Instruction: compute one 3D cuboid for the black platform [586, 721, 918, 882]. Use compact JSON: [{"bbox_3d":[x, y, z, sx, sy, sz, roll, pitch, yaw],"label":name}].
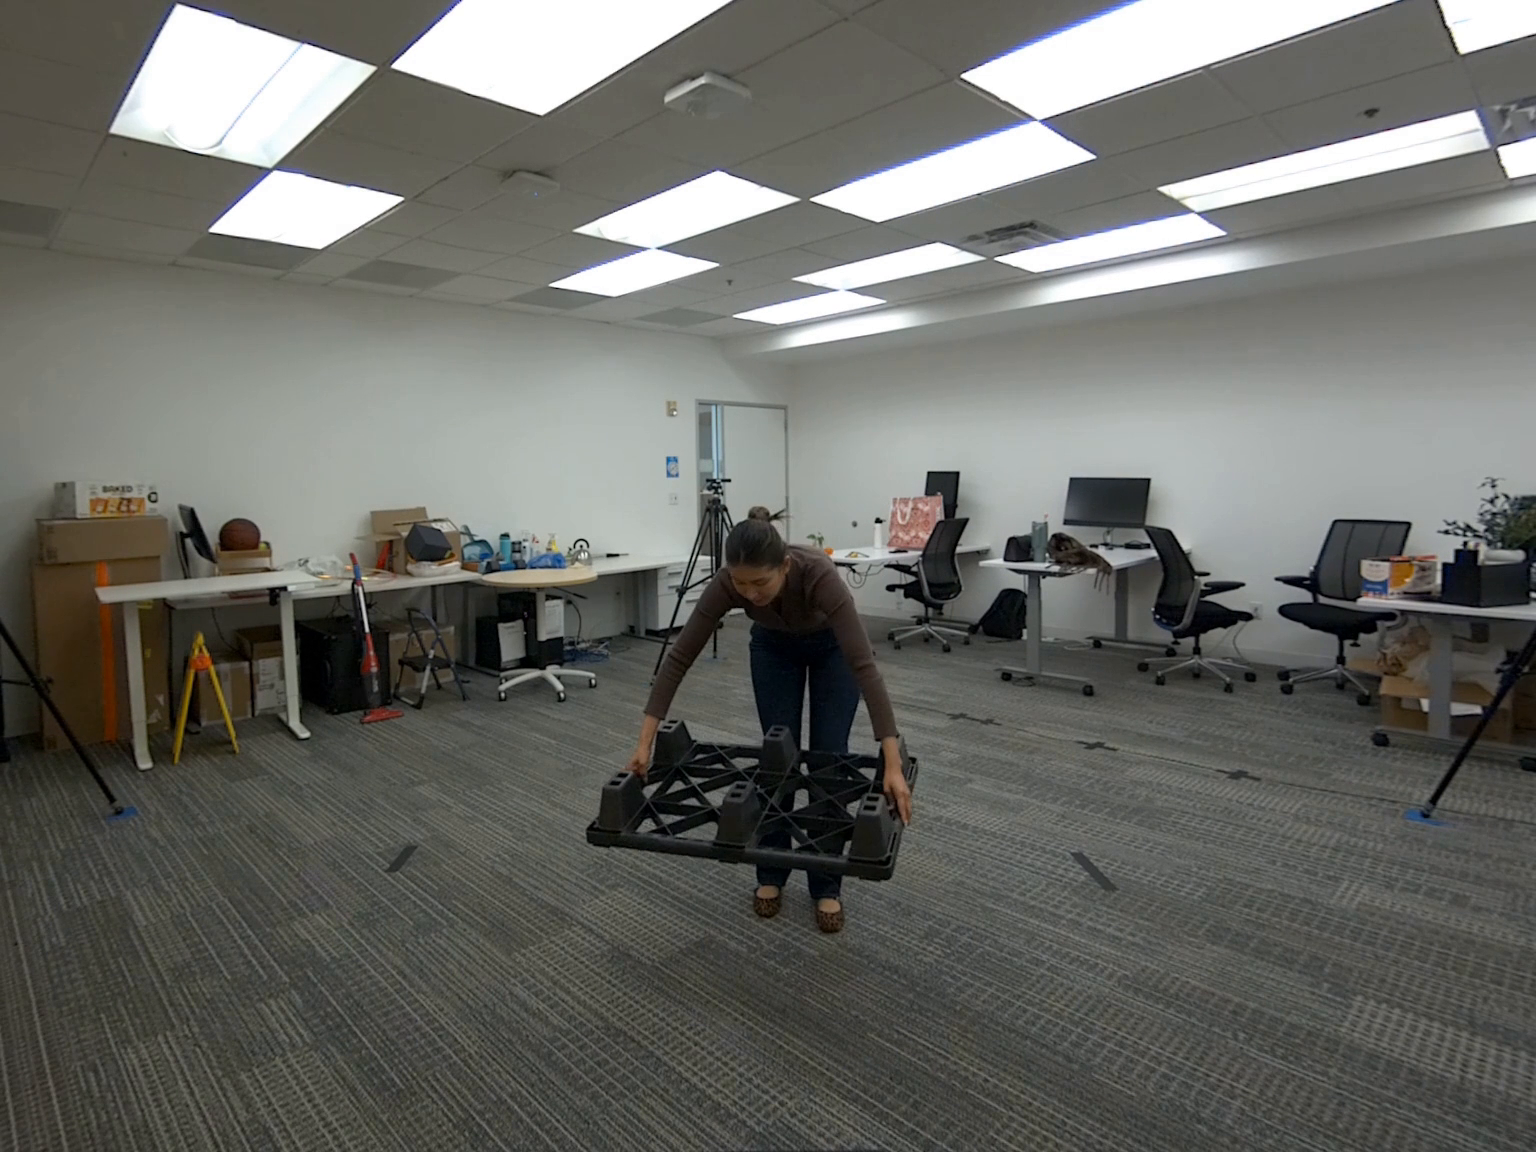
[{"bbox_3d":[-0.029,0.579,2.368,0.820,0.142,0.601,0,13,18],"label":"black platform"}]
